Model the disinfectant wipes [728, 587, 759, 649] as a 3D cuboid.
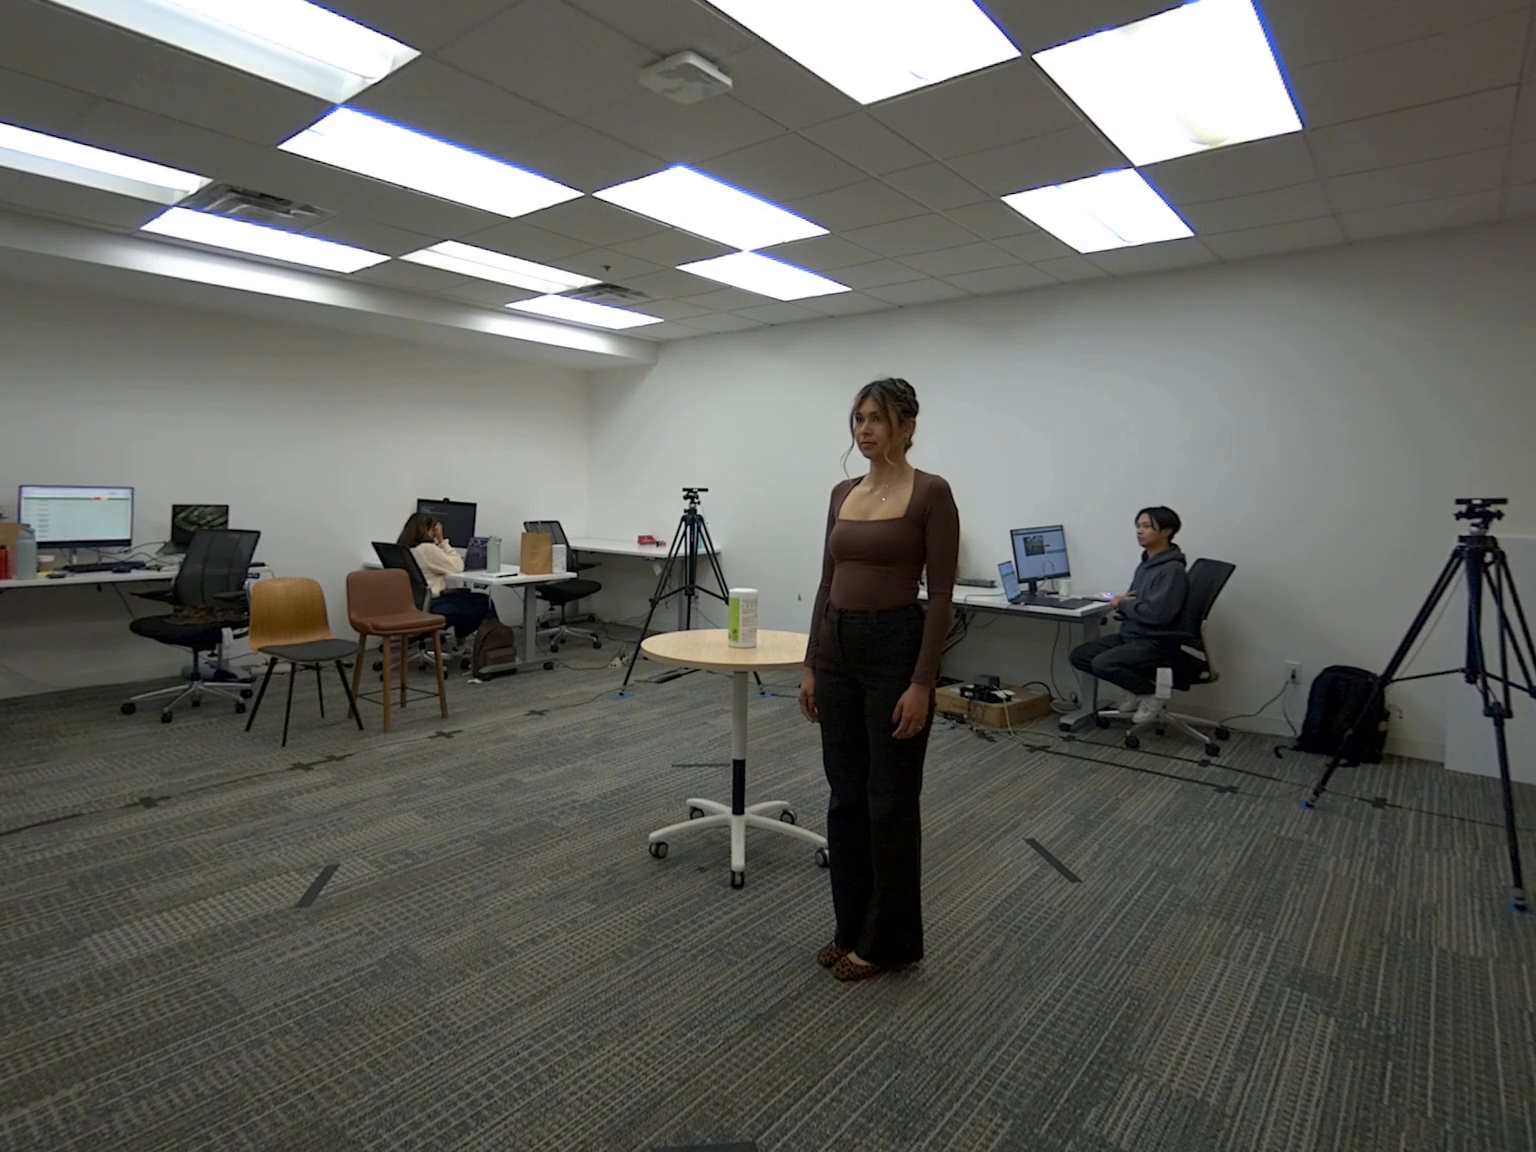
[{"bbox_3d":[-0.103,0.157,3.225,0.118,0.217,0.118,0,4,-2],"label":"disinfectant wipes"}]
